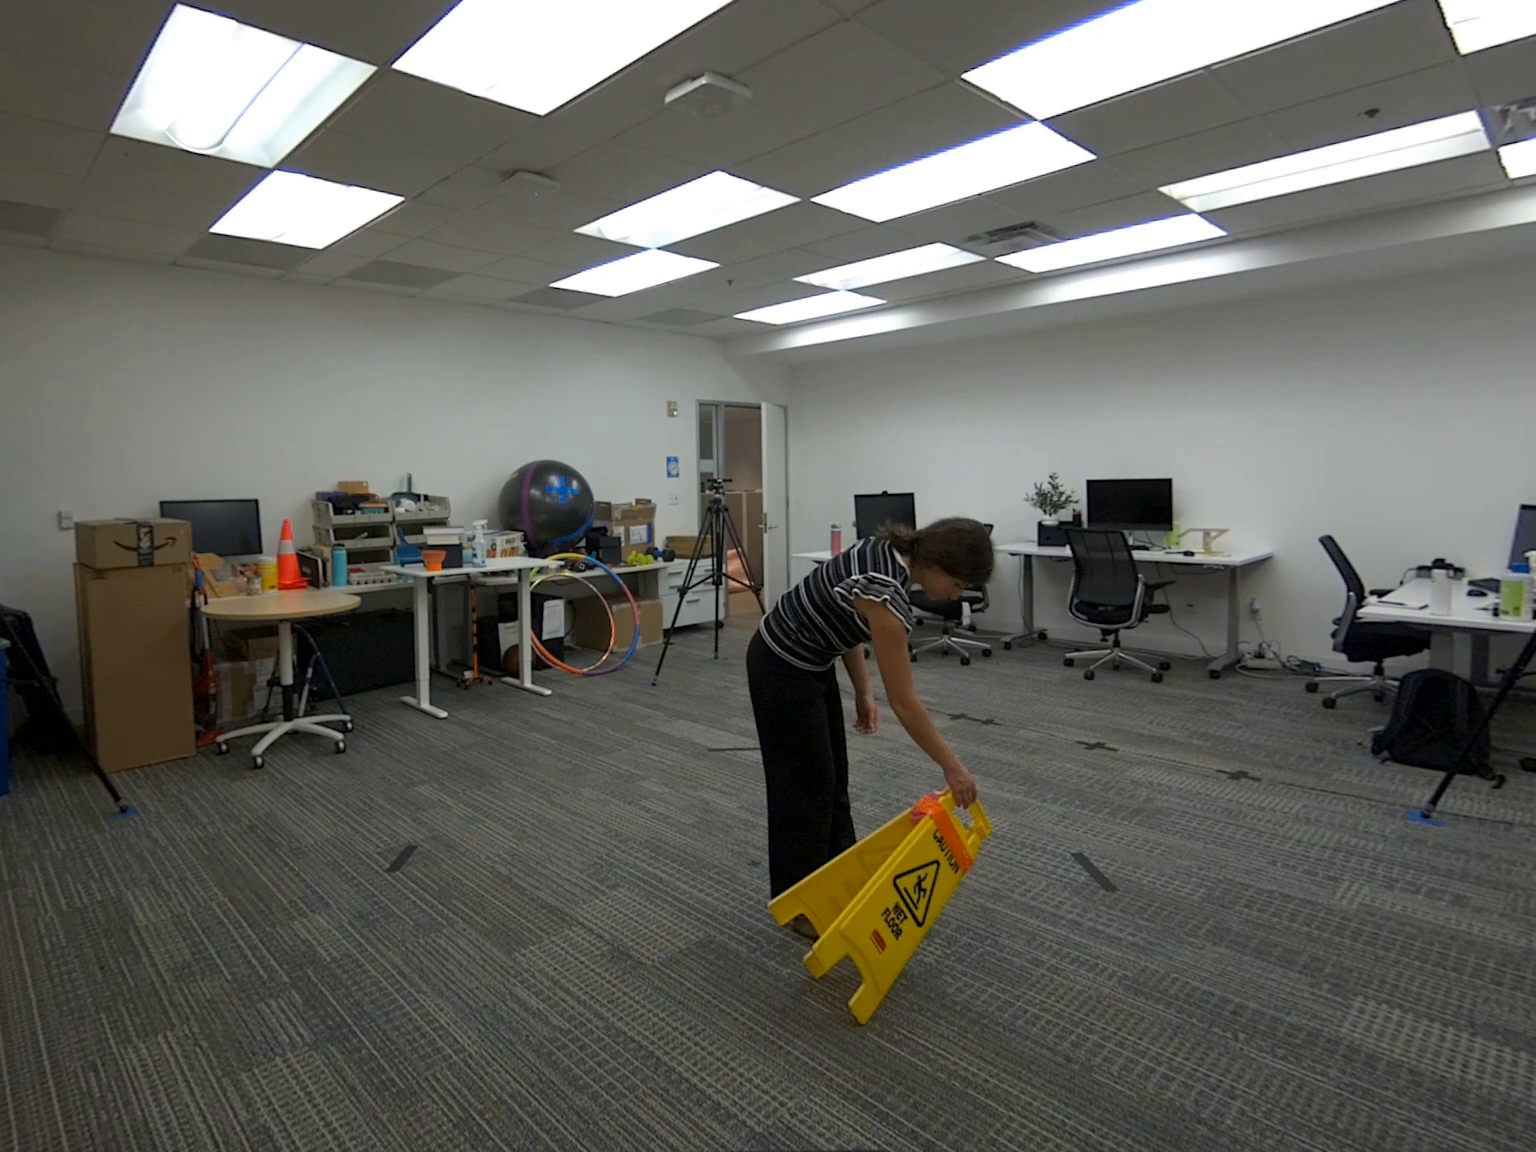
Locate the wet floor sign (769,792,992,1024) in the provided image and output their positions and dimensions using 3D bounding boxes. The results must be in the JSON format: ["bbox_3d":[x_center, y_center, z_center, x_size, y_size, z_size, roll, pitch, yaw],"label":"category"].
[{"bbox_3d":[0.372,0.844,2.355,0.643,0.276,0.297,-39,19,-20],"label":"wet floor sign"}]
